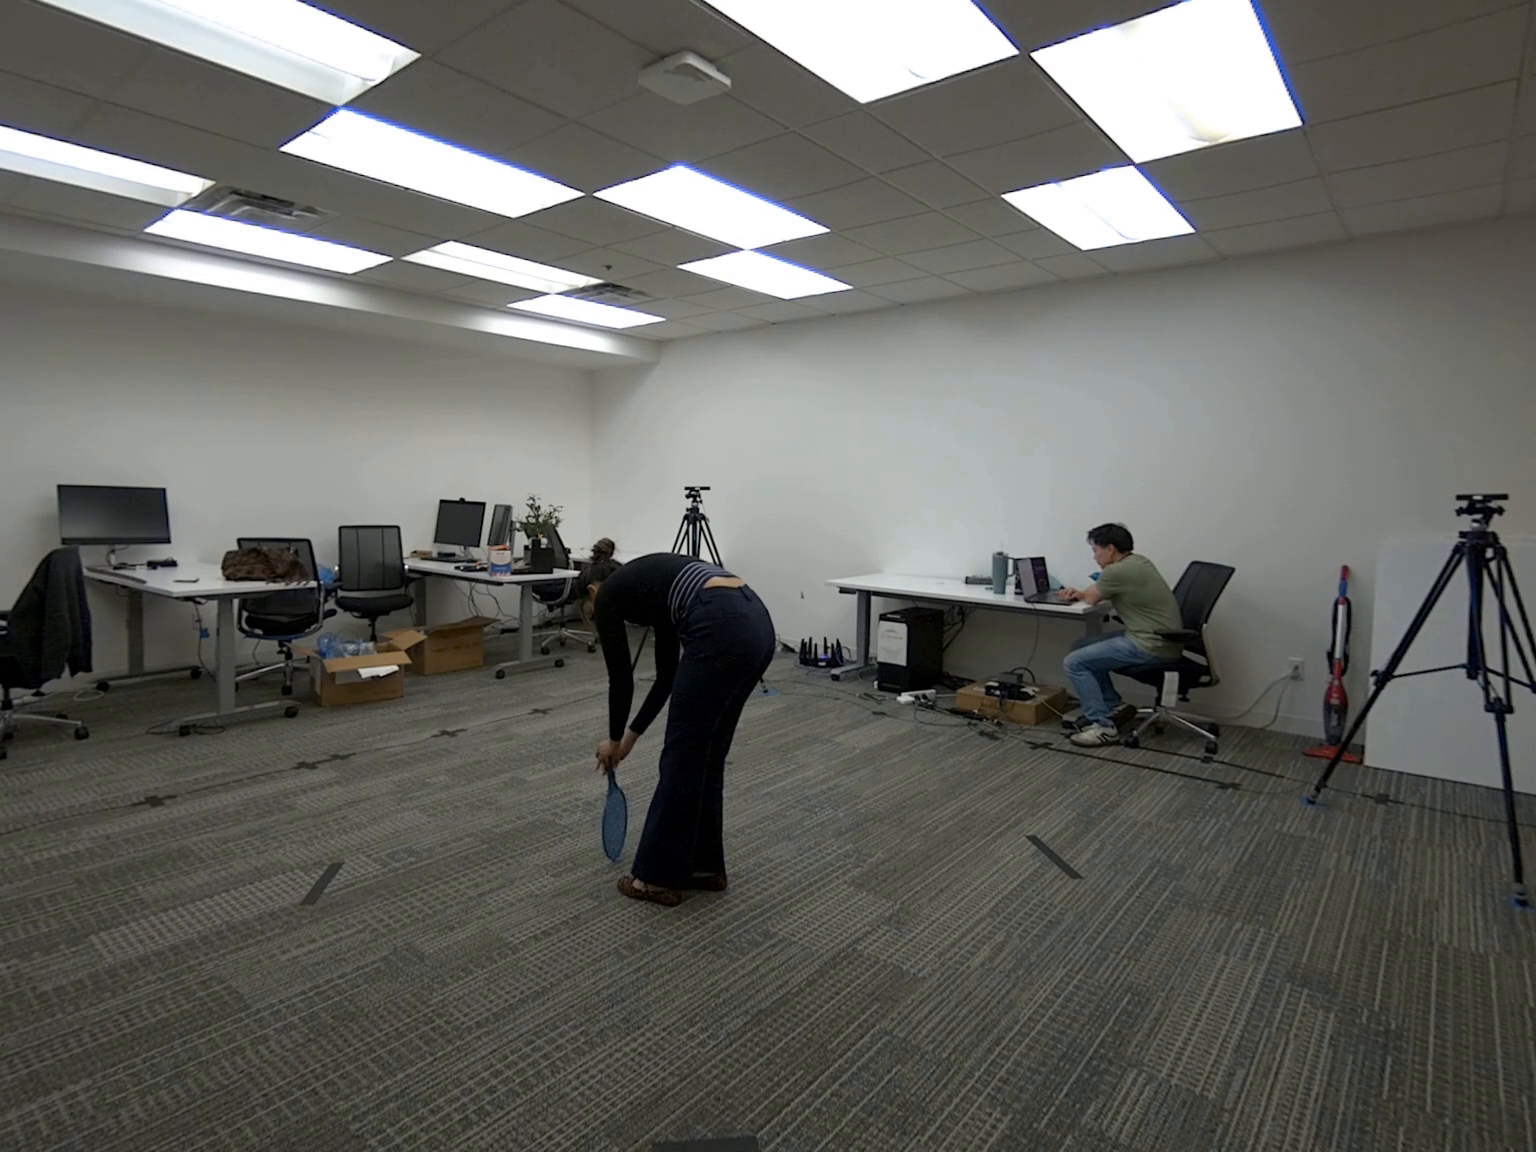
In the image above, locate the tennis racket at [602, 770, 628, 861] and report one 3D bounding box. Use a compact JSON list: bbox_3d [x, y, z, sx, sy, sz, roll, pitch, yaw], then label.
[{"bbox_3d":[-0.581,0.841,3.146,0.032,0.427,0.214,-1,12,10],"label":"tennis racket"}]
